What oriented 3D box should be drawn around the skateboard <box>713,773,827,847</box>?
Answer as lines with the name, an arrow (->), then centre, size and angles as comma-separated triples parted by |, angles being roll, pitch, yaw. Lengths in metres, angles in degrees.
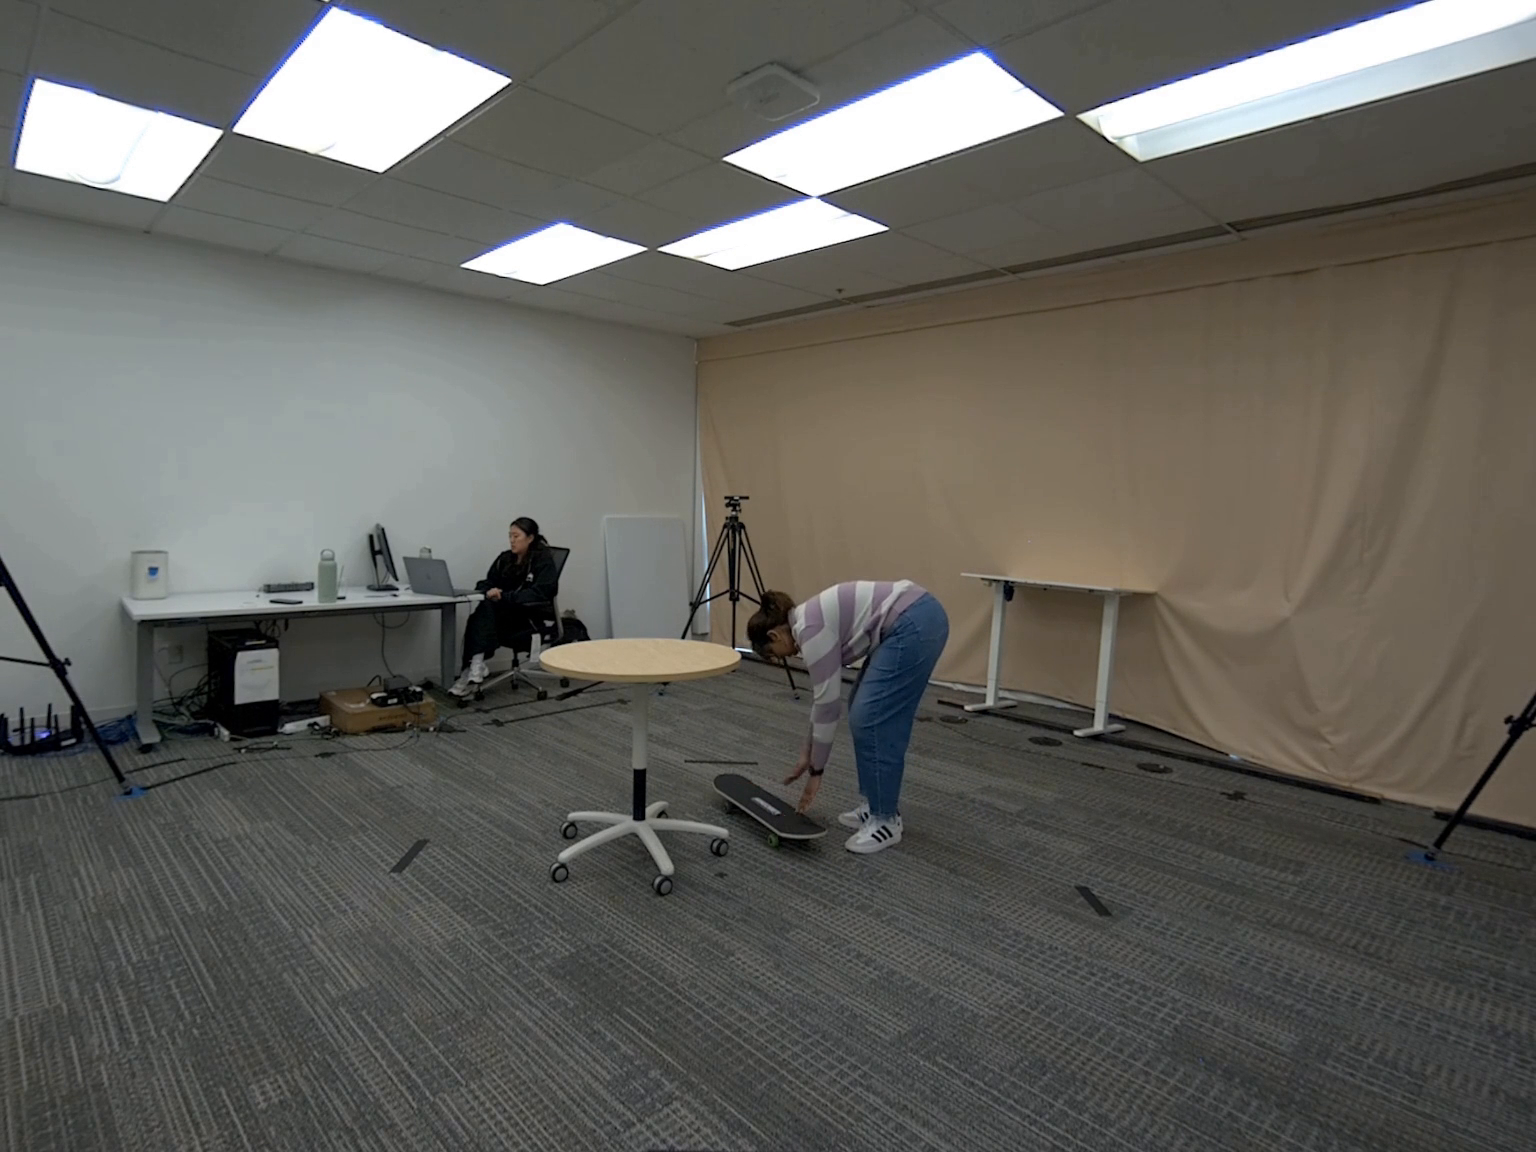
skateboard -> -0.017, 1.005, 3.579 | 0.190, 0.110, 0.803 | -1, 5, -29
